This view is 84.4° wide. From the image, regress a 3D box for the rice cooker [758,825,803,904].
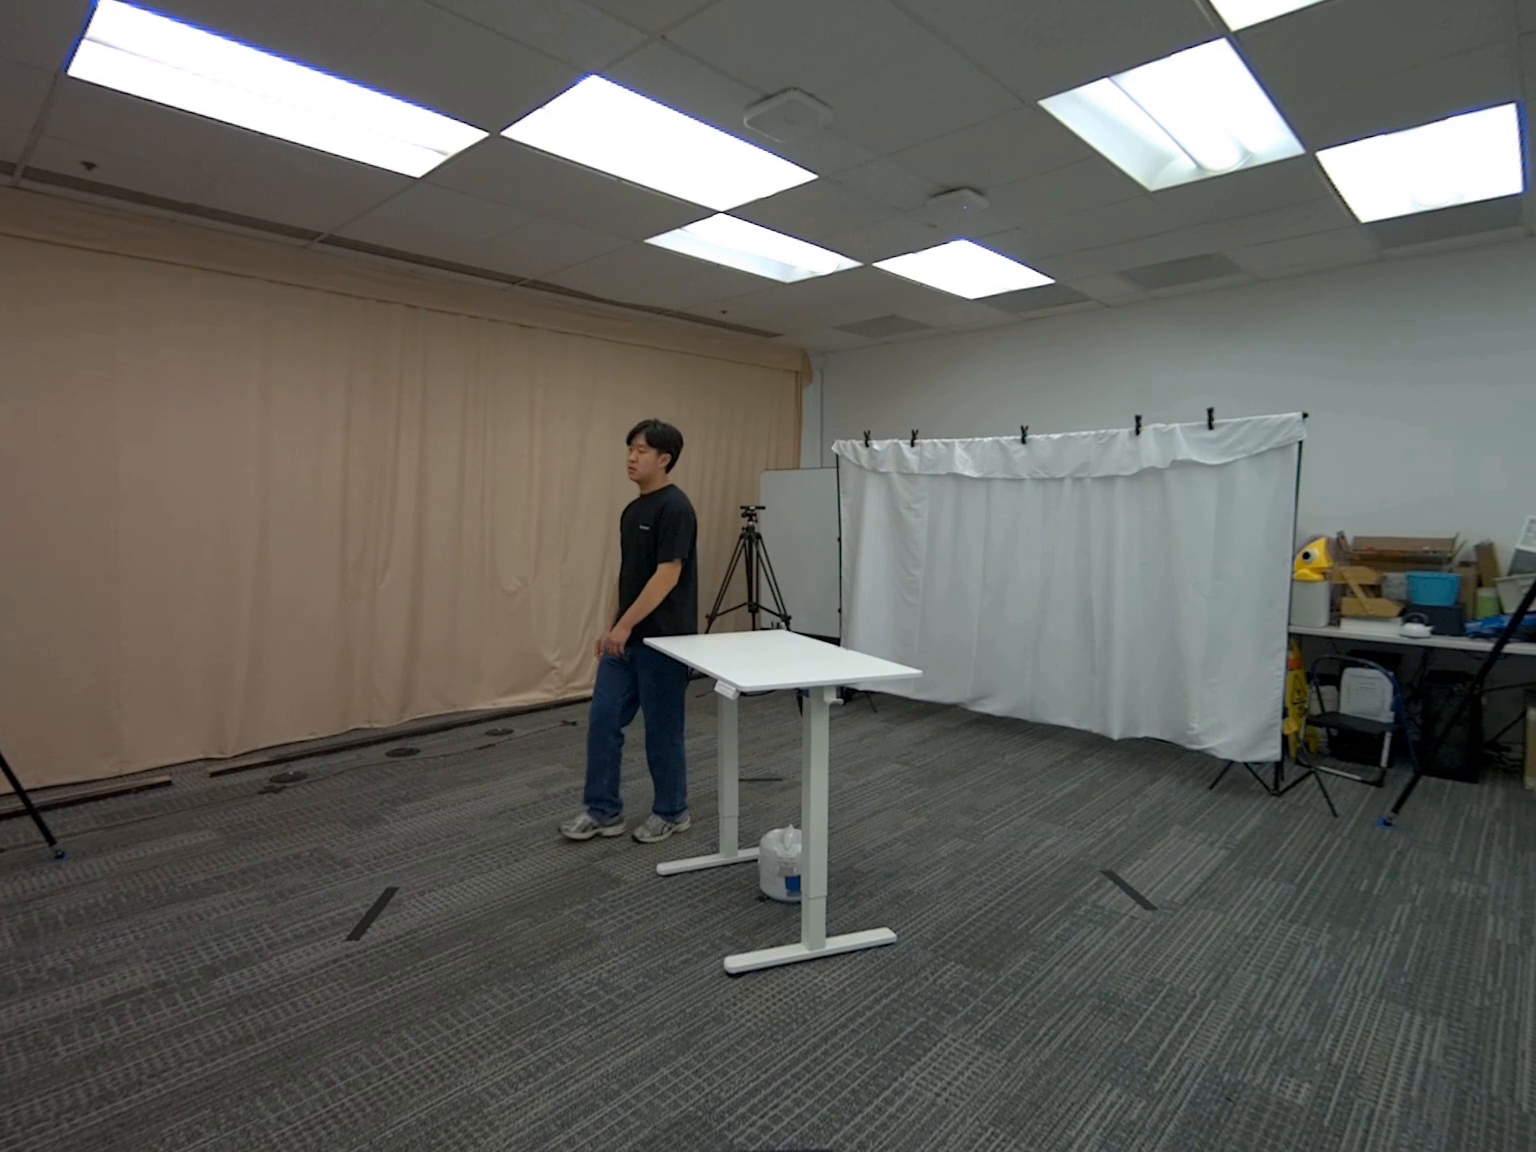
[{"bbox_3d":[0.079,1.024,3.023,0.220,0.232,0.218,1,4,9],"label":"rice cooker"}]
